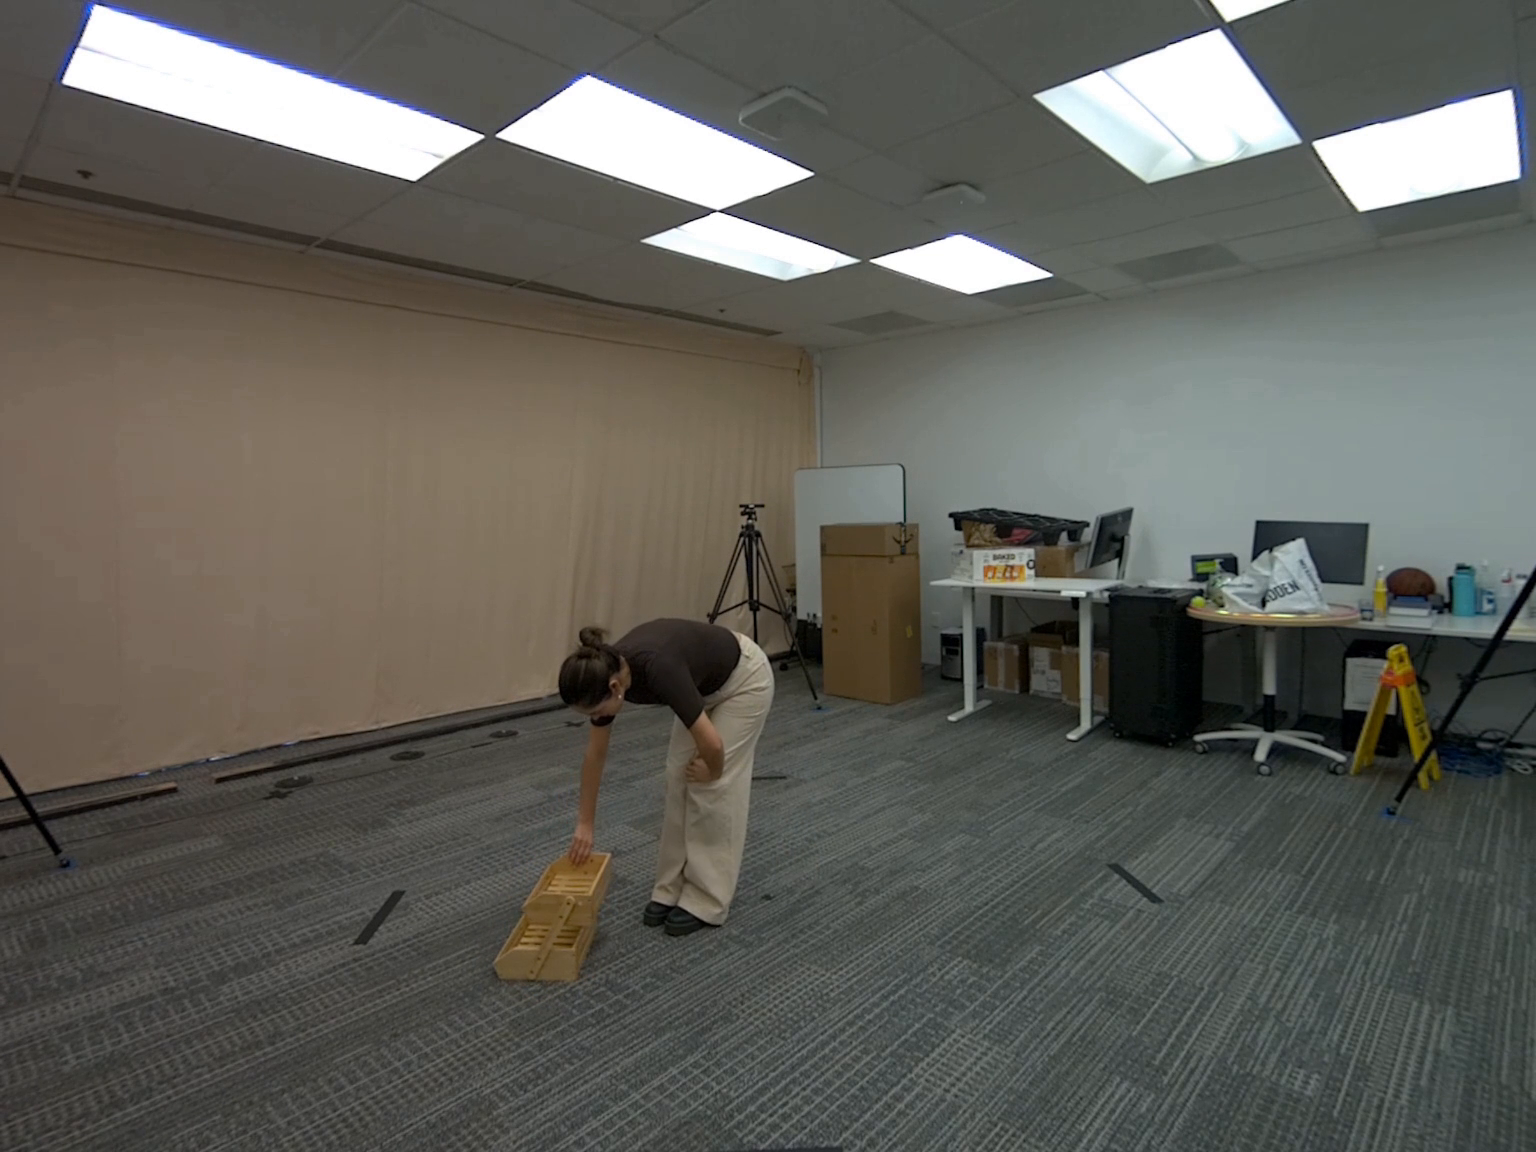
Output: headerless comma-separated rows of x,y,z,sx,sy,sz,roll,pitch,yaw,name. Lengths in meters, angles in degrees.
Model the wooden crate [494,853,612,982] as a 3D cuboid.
-0.670,1.049,2.629,0.303,0.273,0.324,0,4,2,wooden crate
